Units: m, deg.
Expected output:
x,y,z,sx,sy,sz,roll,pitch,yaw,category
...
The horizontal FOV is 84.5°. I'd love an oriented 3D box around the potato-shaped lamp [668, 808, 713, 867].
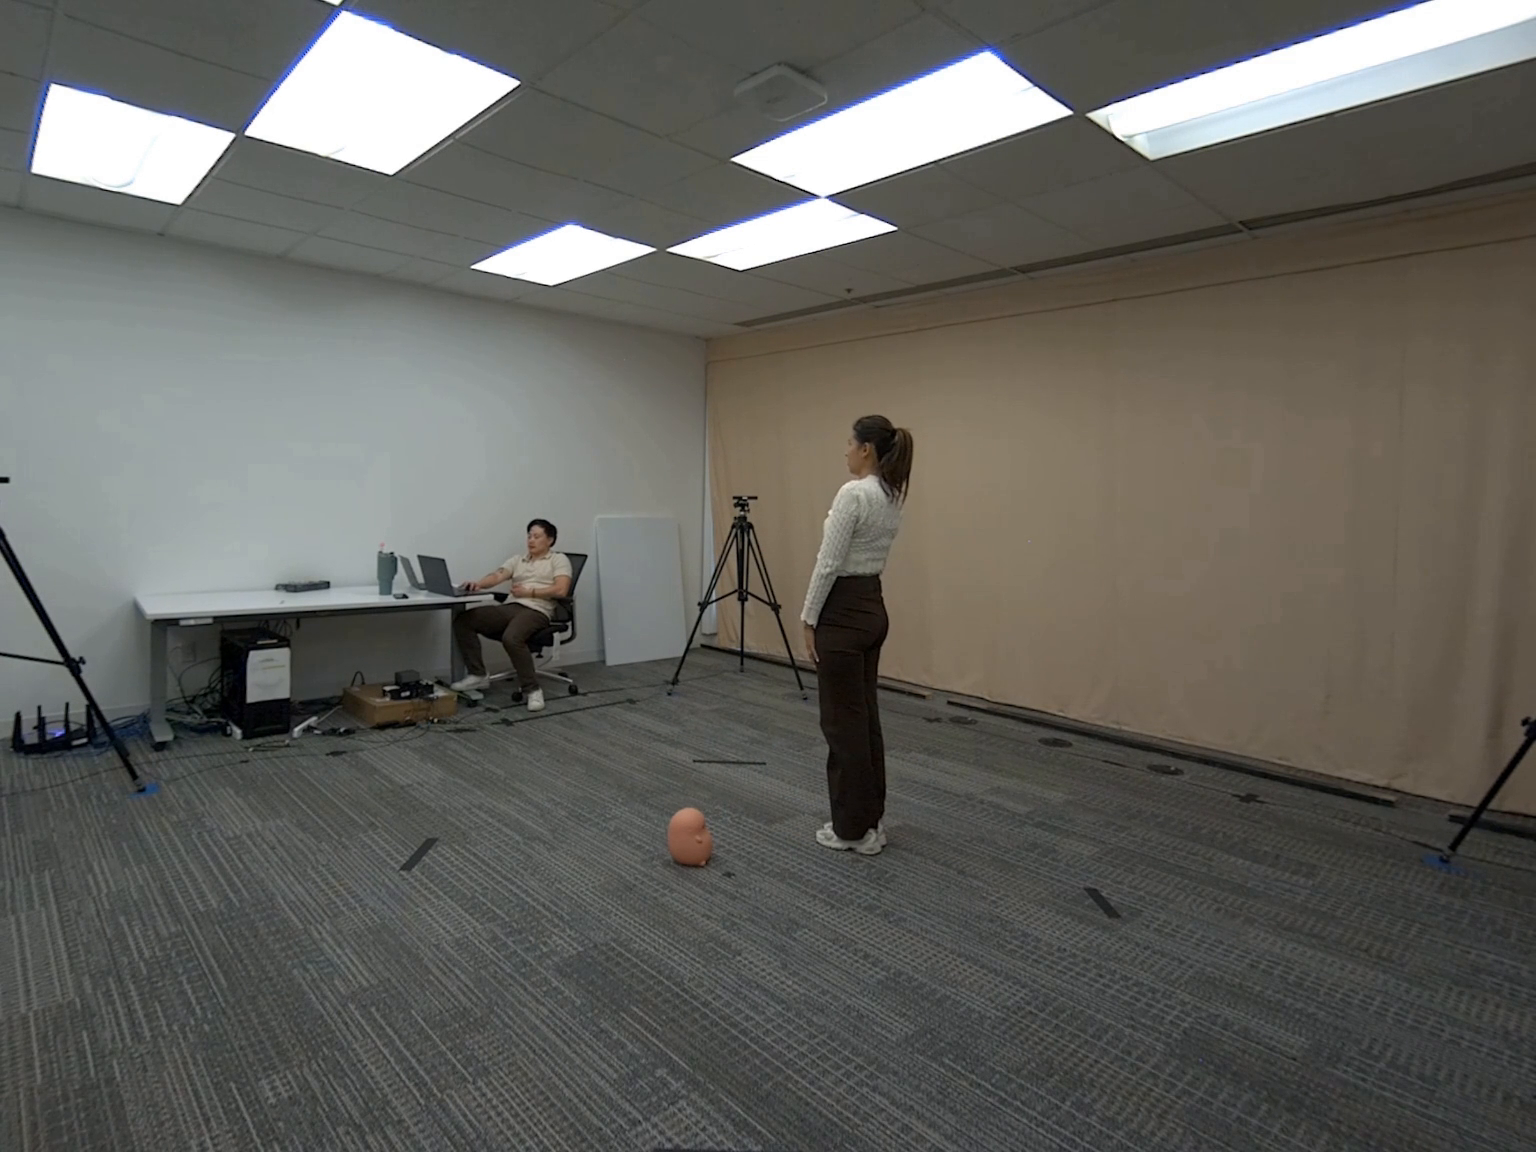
x,y,z,sx,sy,sz,roll,pitch,yaw,category
-0.304,0.990,3.213,0.173,0.197,0.164,2,5,11,potato-shaped lamp
